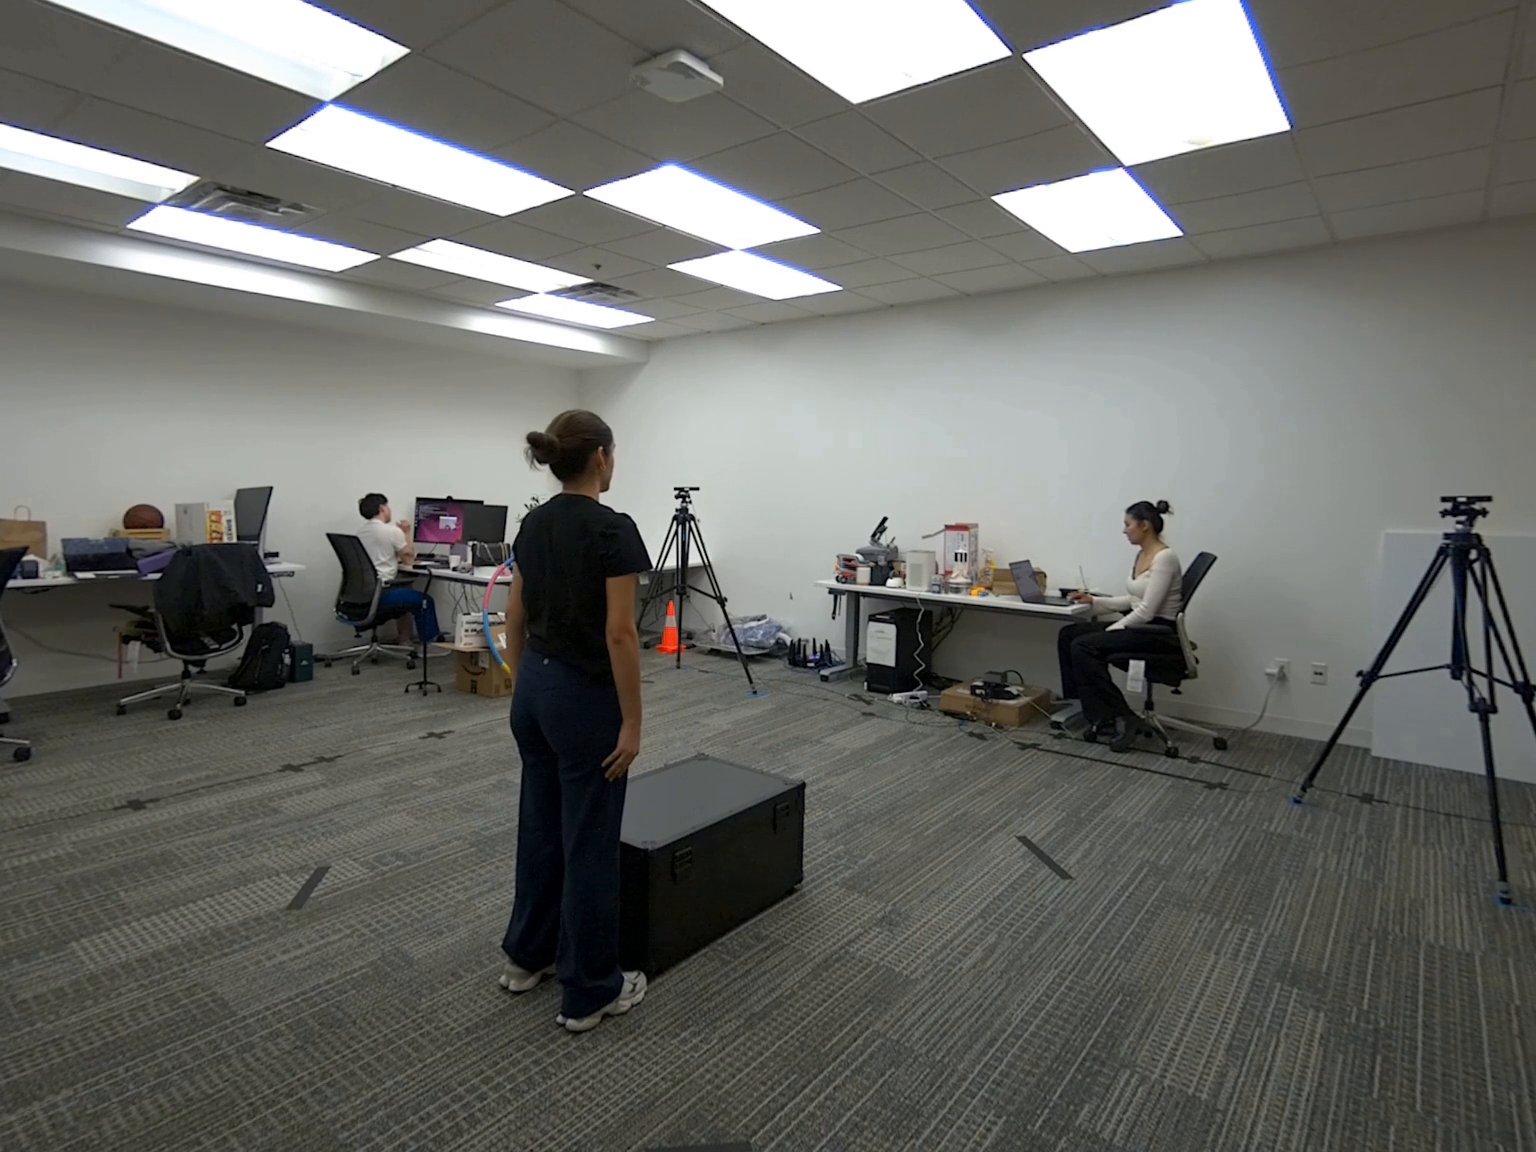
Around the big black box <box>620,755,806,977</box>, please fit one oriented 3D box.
[{"bbox_3d":[-0.266,0.885,2.853,0.538,0.395,0.836,4,6,38],"label":"big black box"}]
